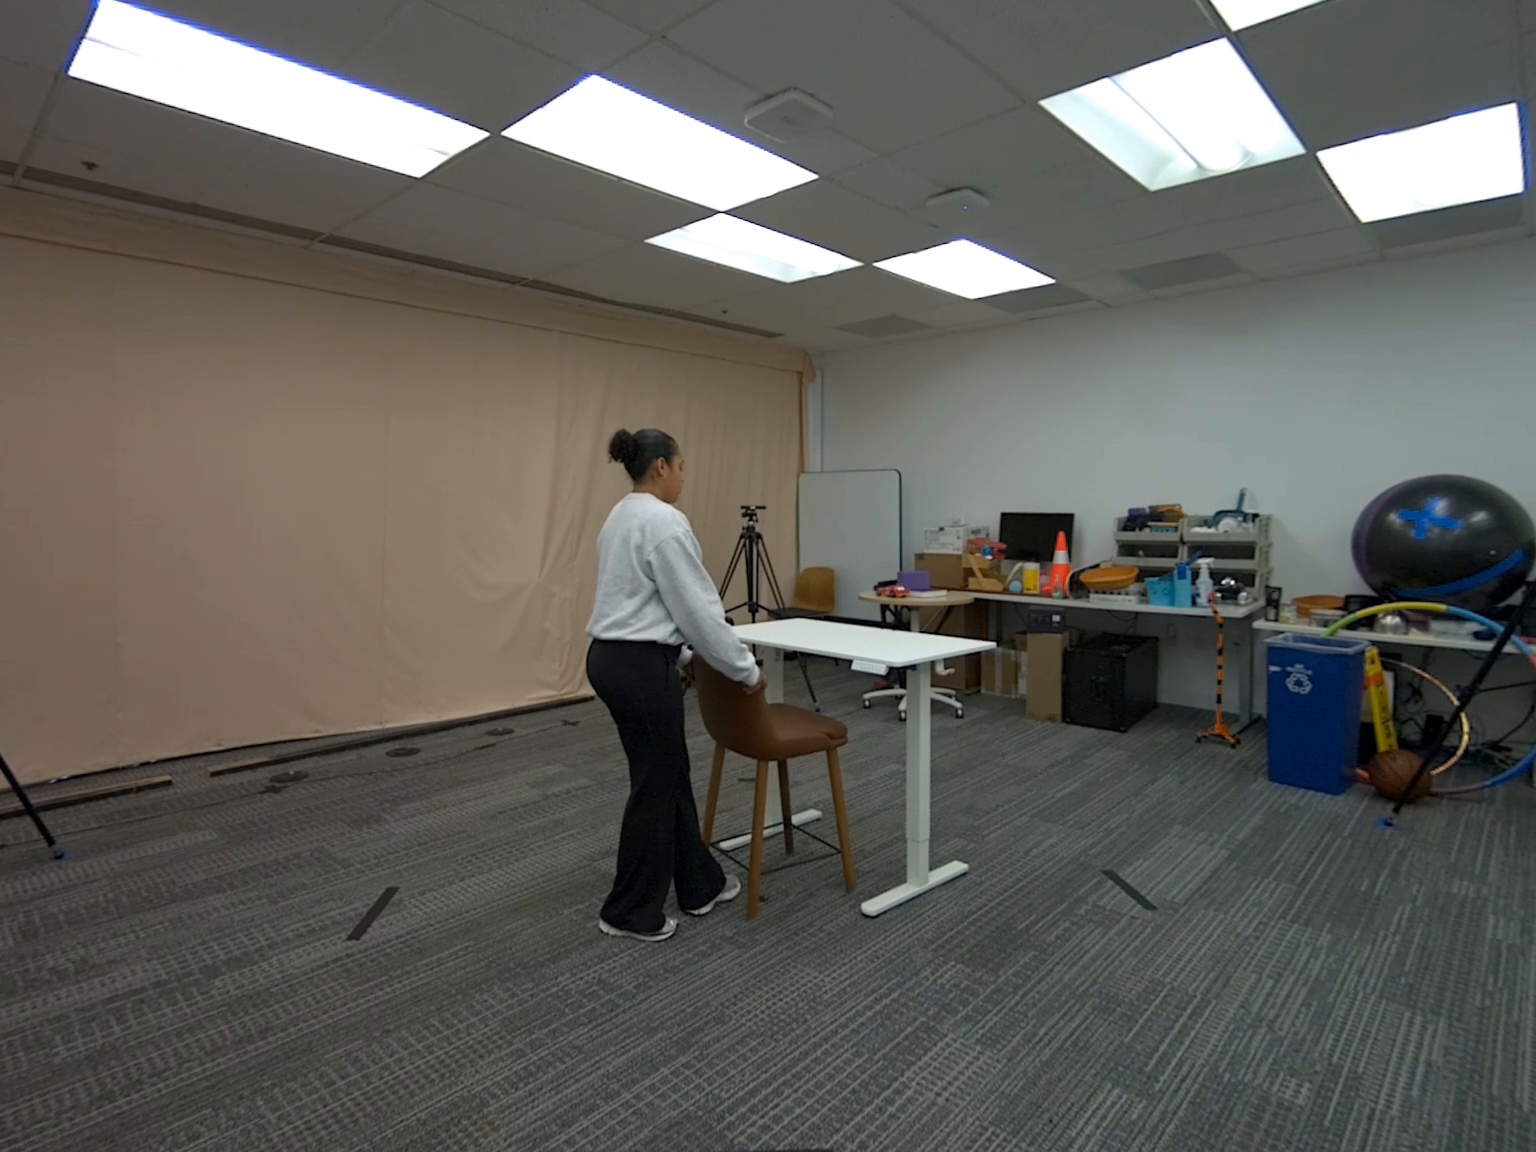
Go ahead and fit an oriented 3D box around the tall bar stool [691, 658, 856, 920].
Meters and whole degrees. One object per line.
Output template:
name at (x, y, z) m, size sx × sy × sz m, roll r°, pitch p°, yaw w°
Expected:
tall bar stool at (0.010, 0.698, 3.068) m, size 0.455 × 0.887 × 0.470 m, roll -6°, pitch 5°, yaw -32°
